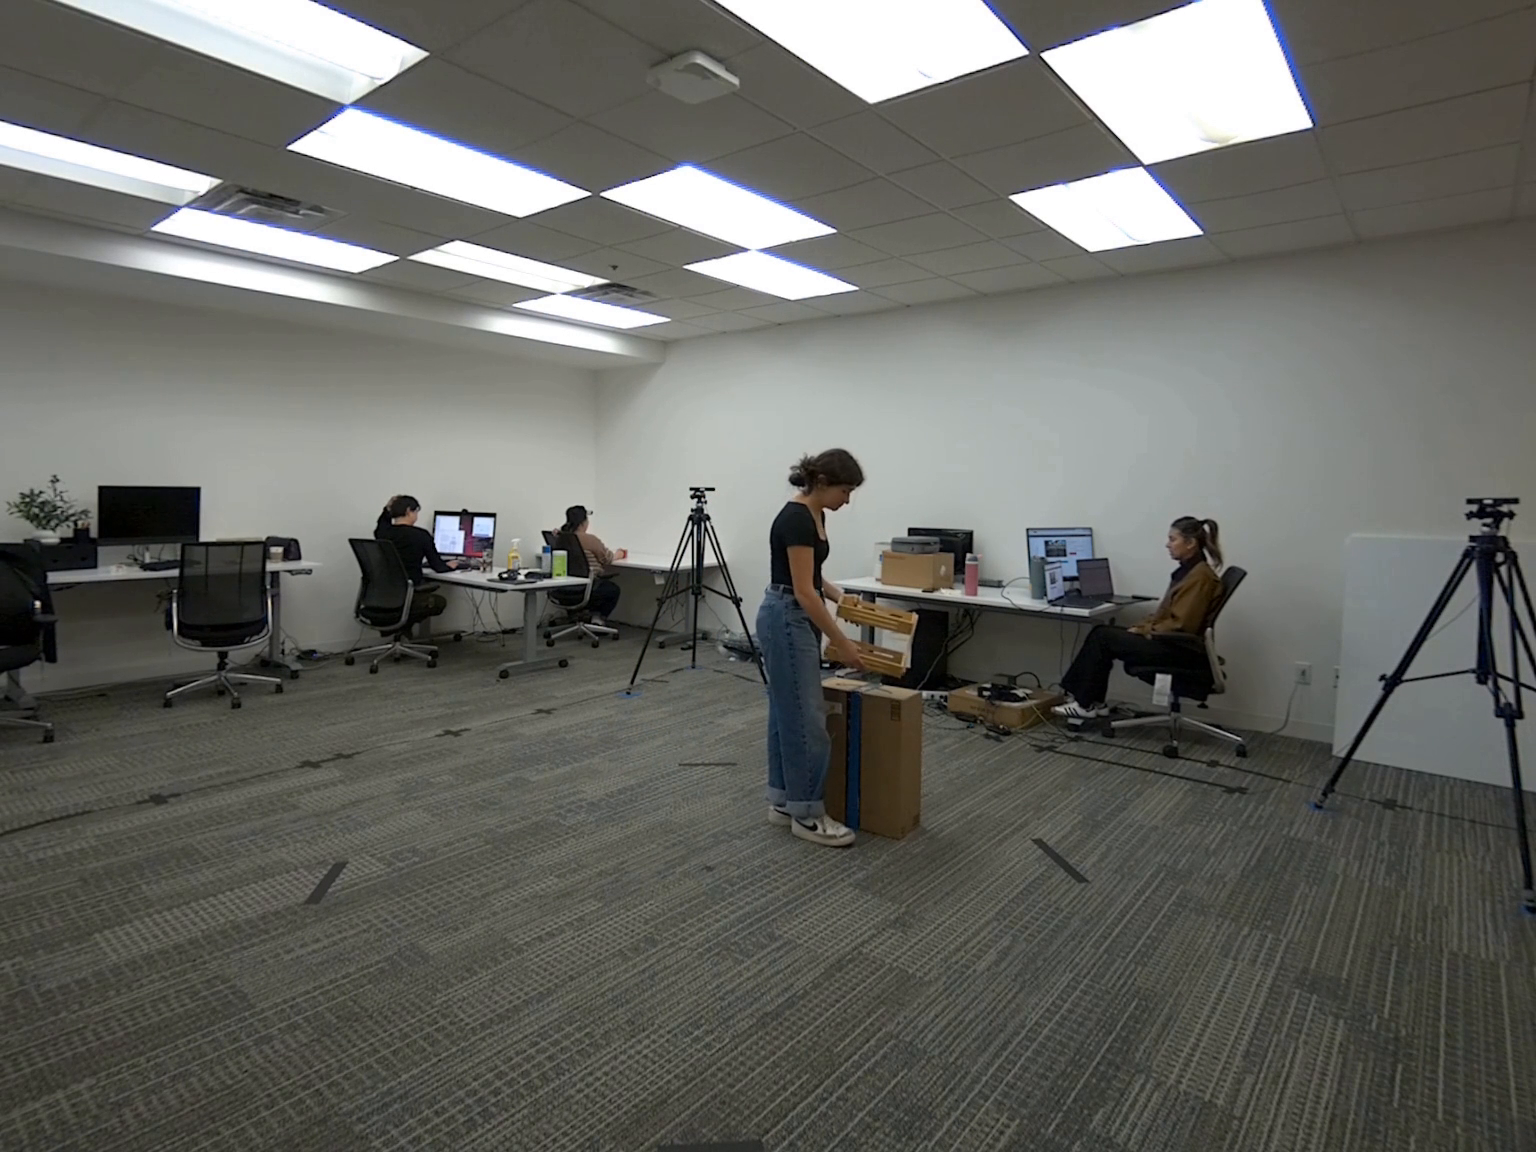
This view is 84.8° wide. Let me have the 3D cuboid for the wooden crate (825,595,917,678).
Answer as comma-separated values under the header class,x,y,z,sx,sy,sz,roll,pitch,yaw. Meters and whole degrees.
class,x,y,z,sx,sy,sz,roll,pitch,yaw
wooden crate,0.414,0.236,3.398,0.329,0.274,0.297,13,-3,9
